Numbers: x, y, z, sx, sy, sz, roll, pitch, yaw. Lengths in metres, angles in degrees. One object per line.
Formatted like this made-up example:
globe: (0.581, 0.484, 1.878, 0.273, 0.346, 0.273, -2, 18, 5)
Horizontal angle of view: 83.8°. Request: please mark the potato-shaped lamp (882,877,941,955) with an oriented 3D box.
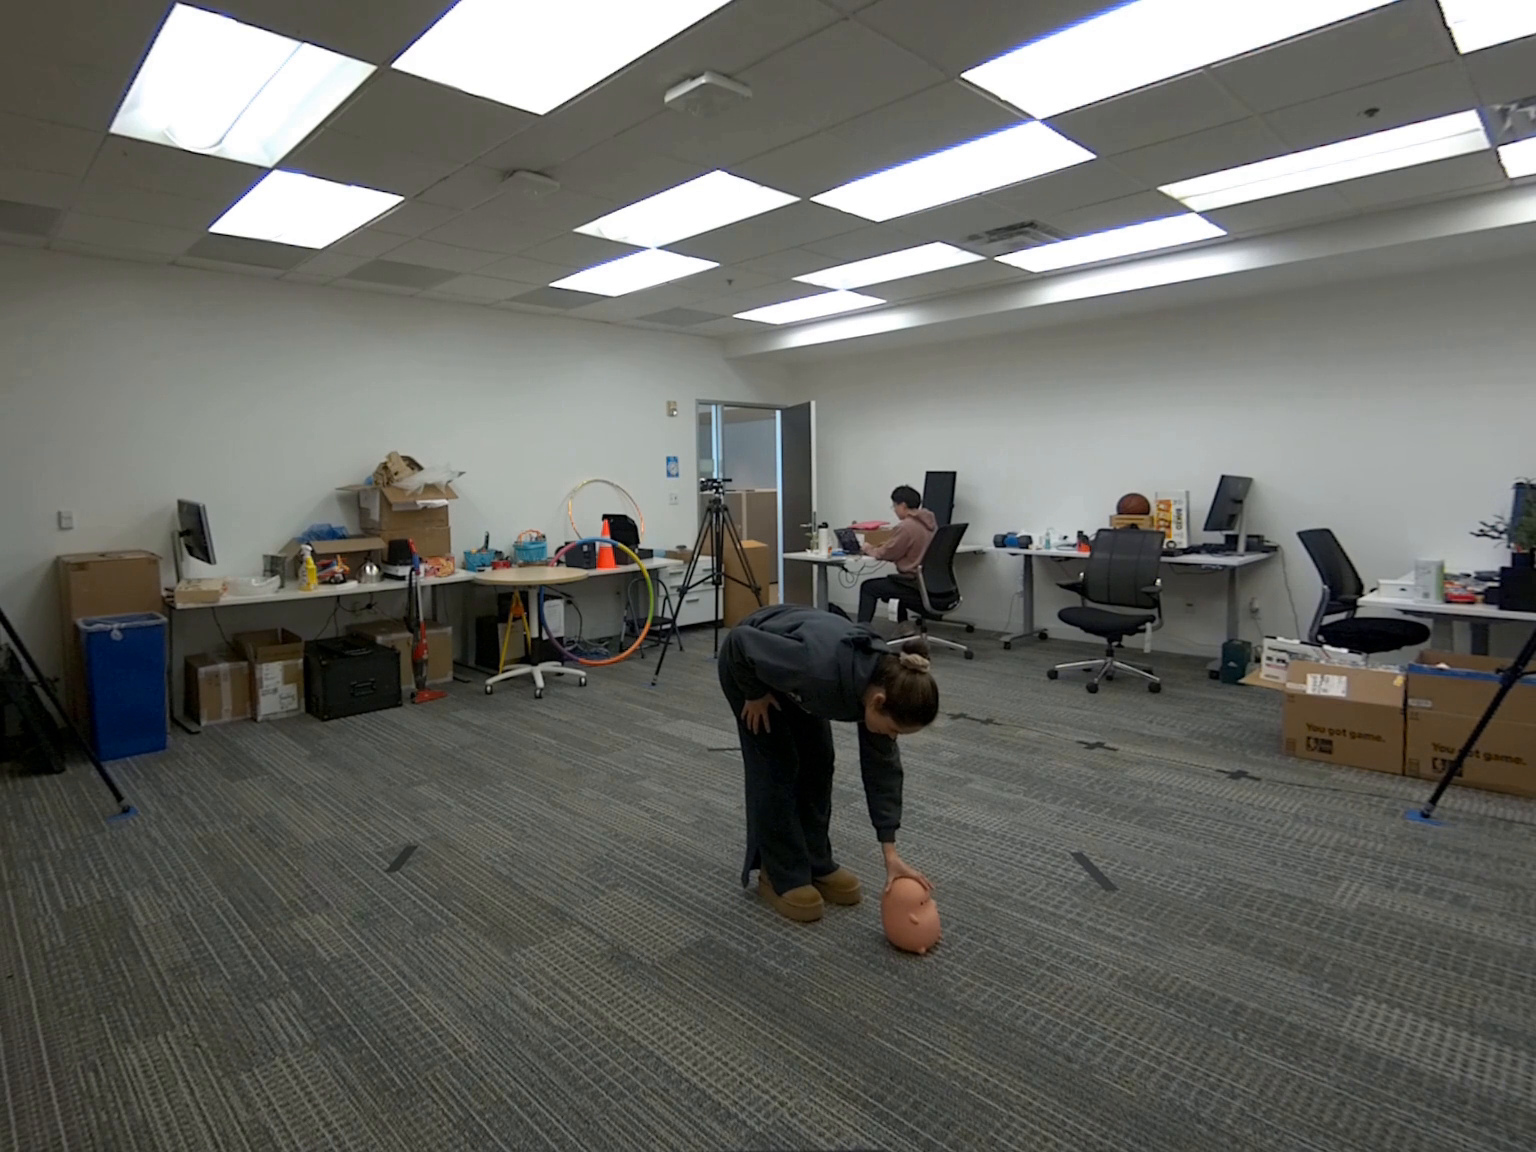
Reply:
potato-shaped lamp: (0.428, 1.003, 2.548, 0.176, 0.198, 0.161, -7, 1, 43)
